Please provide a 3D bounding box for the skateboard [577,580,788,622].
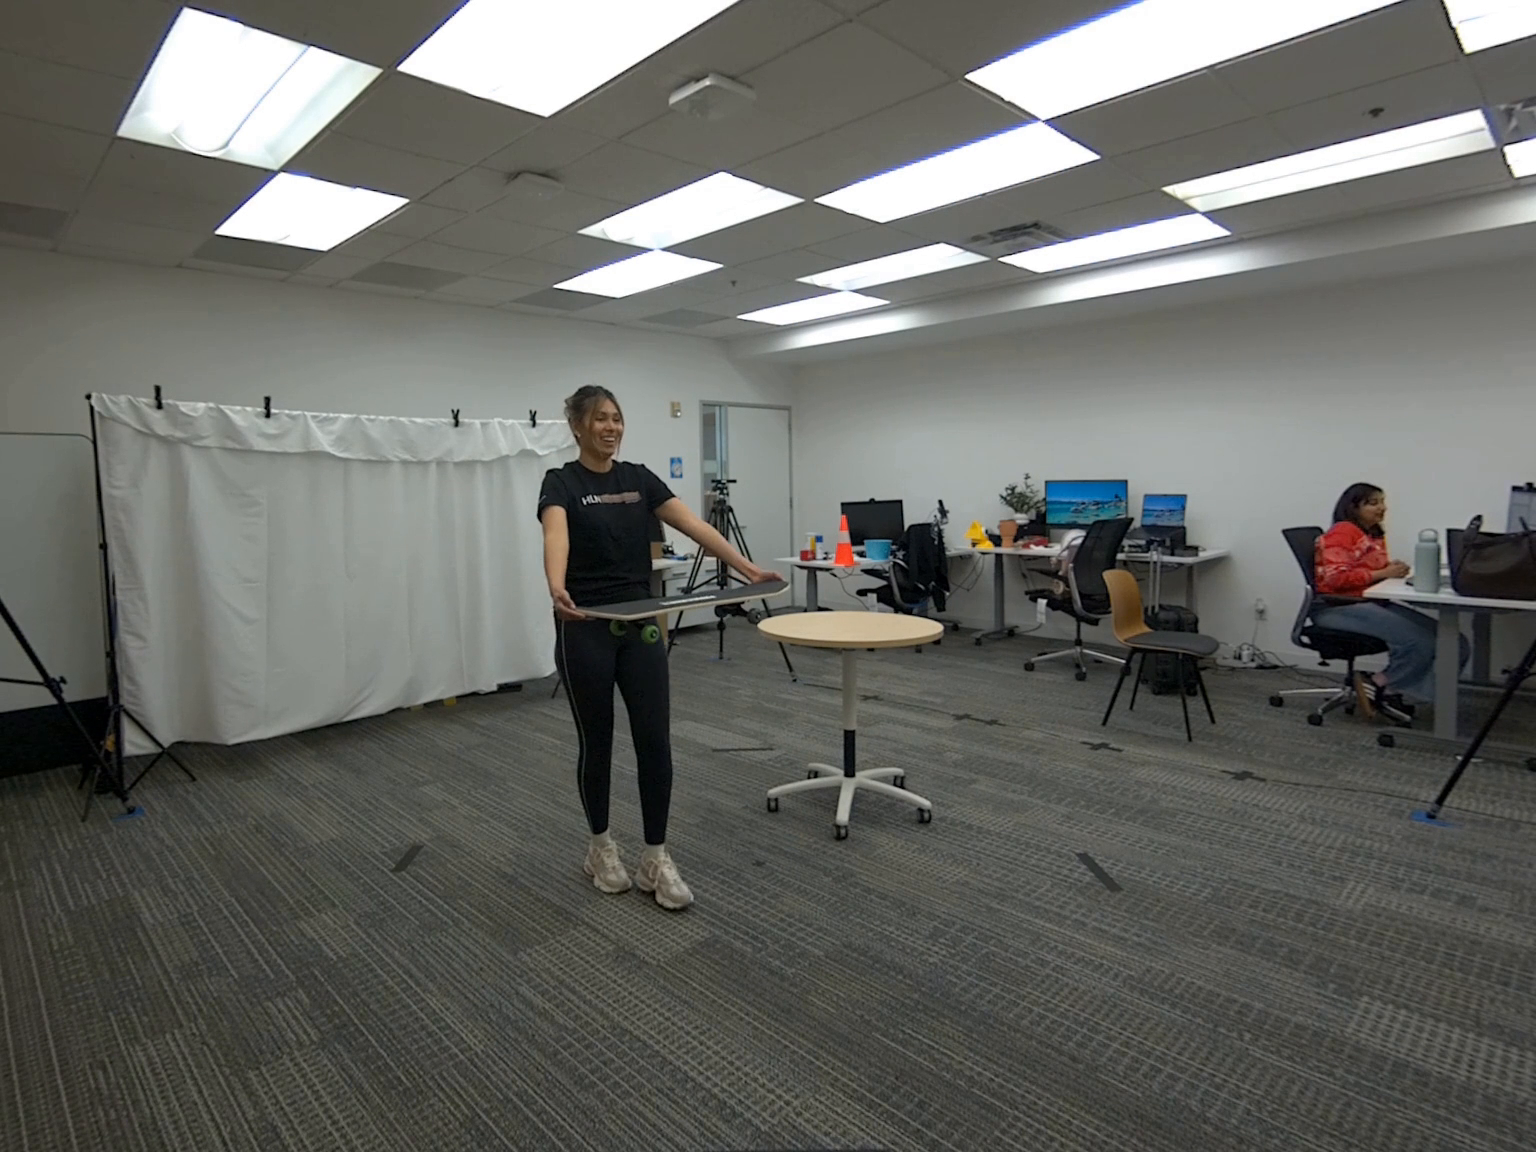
[{"bbox_3d":[-0.241,0.107,2.546,0.765,0.110,0.199,-7,8,-42],"label":"skateboard"}]
